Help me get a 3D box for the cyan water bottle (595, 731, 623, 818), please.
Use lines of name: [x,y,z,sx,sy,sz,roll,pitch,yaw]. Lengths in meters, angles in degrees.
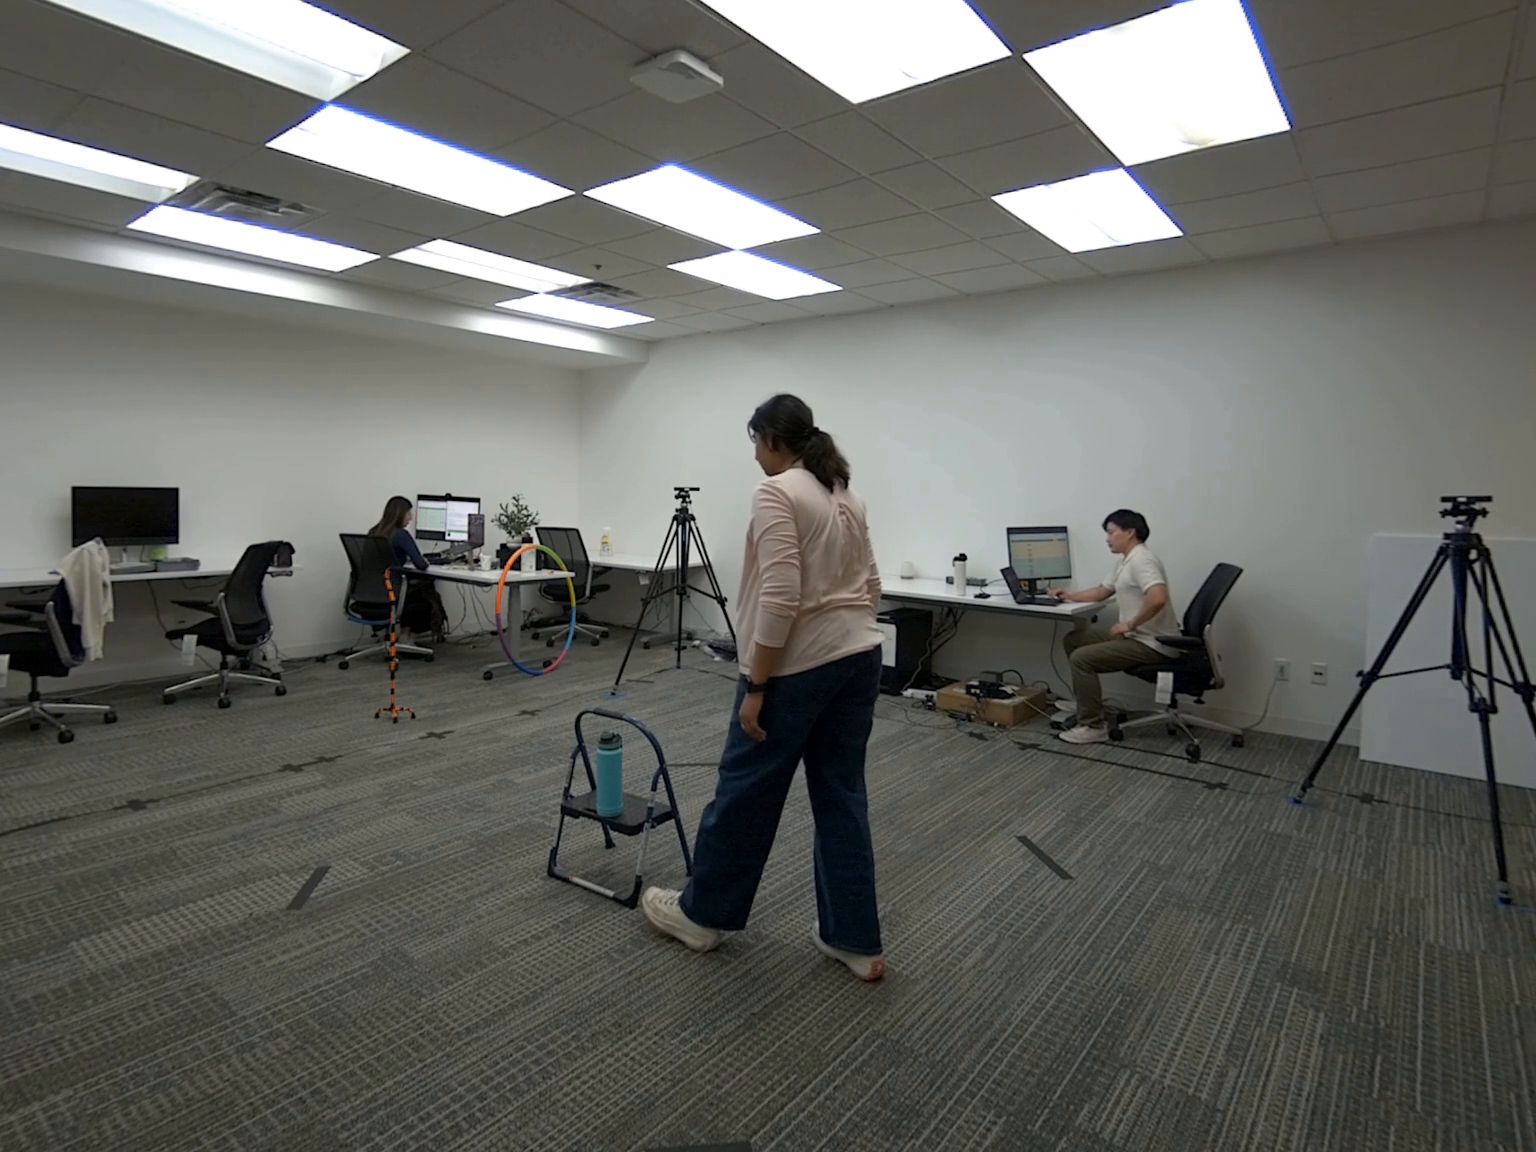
cyan water bottle: [-0.554,0.678,2.933,0.092,0.282,0.093,-2,3,-2]
